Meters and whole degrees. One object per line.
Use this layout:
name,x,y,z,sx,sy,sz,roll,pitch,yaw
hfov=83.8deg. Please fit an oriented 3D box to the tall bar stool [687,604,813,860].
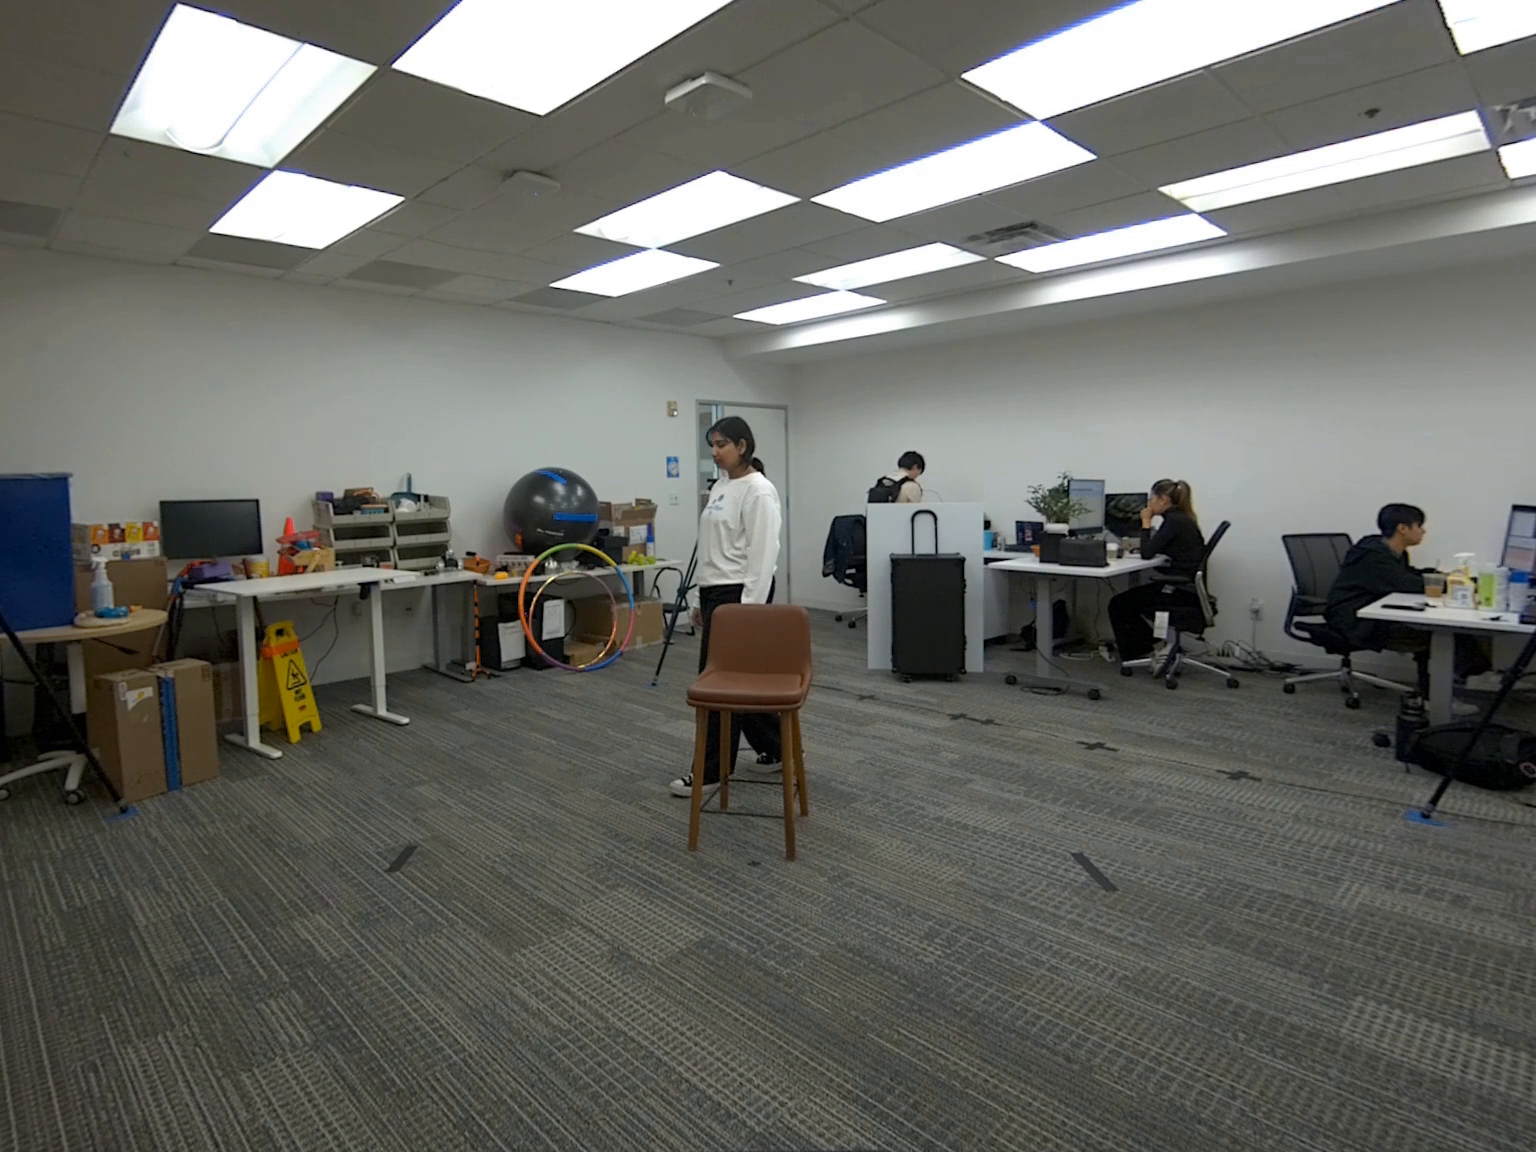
tall bar stool,-0.065,0.581,3.374,0.463,0.889,0.462,0,2,14
